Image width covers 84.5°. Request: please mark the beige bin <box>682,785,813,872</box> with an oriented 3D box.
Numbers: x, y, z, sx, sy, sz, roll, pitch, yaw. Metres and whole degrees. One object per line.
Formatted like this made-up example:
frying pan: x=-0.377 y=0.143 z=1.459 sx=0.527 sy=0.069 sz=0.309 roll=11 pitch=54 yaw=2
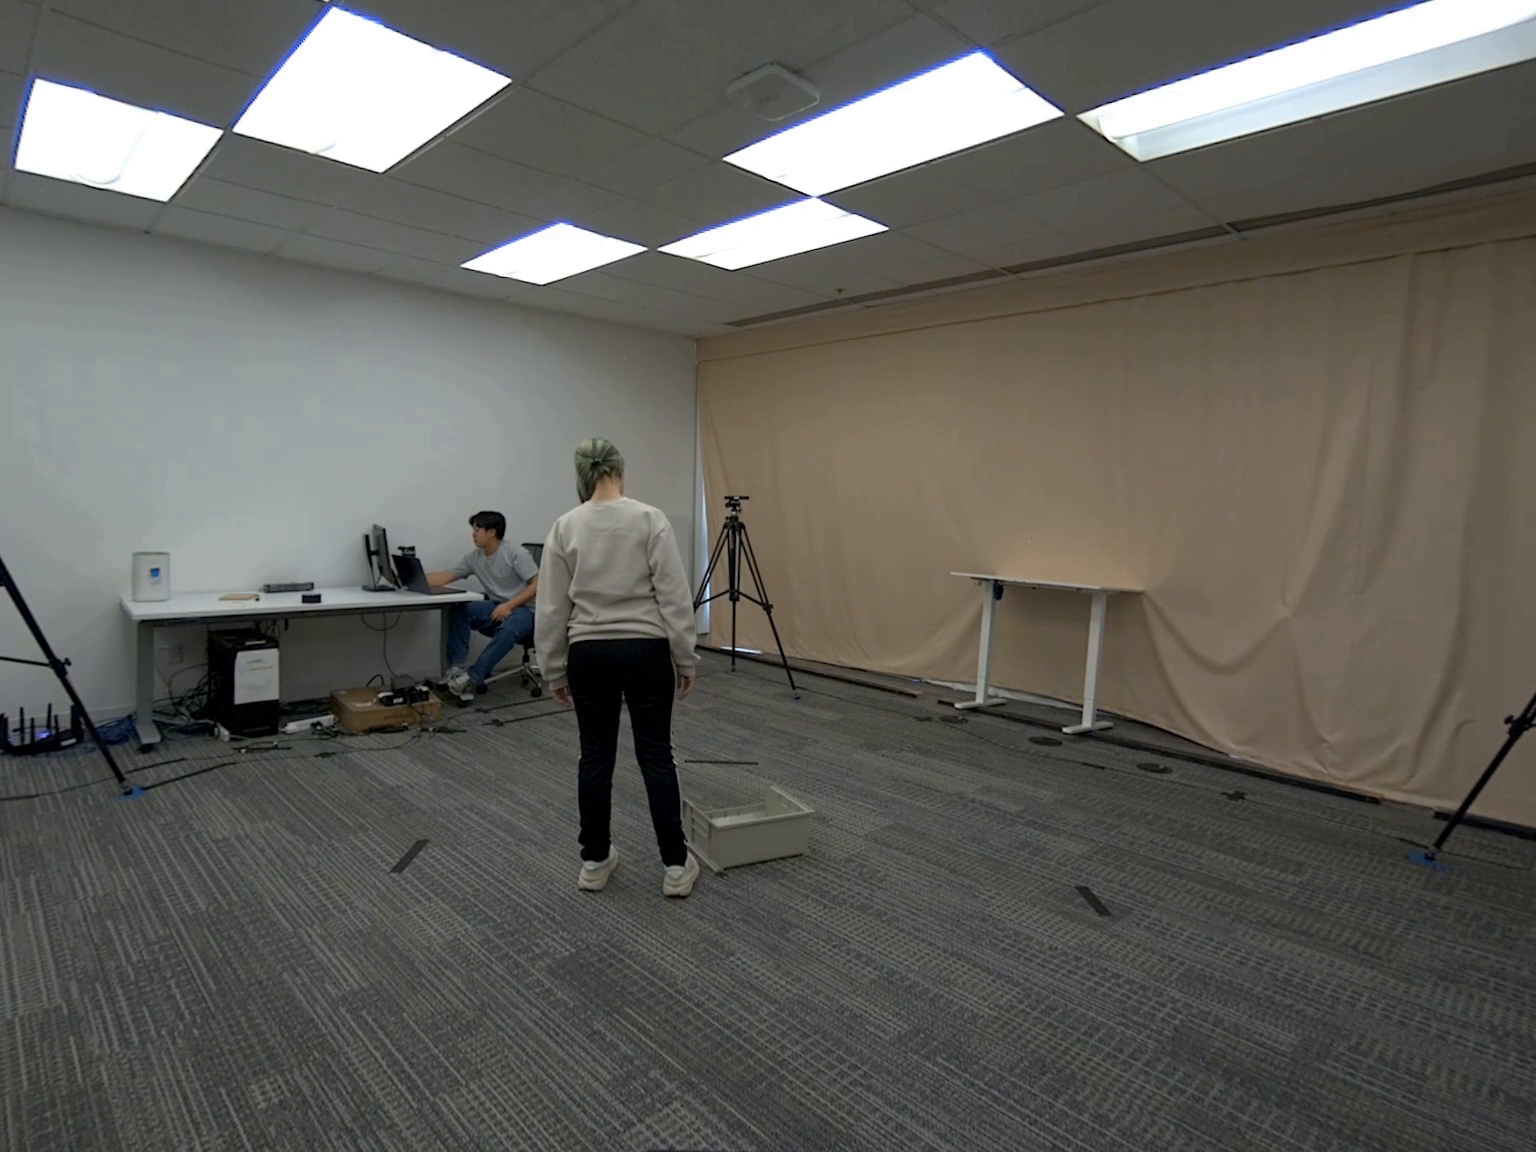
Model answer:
beige bin: x=-0.100 y=0.994 z=3.364 sx=0.414 sy=0.188 sz=0.386 roll=-1 pitch=6 yaw=-27
